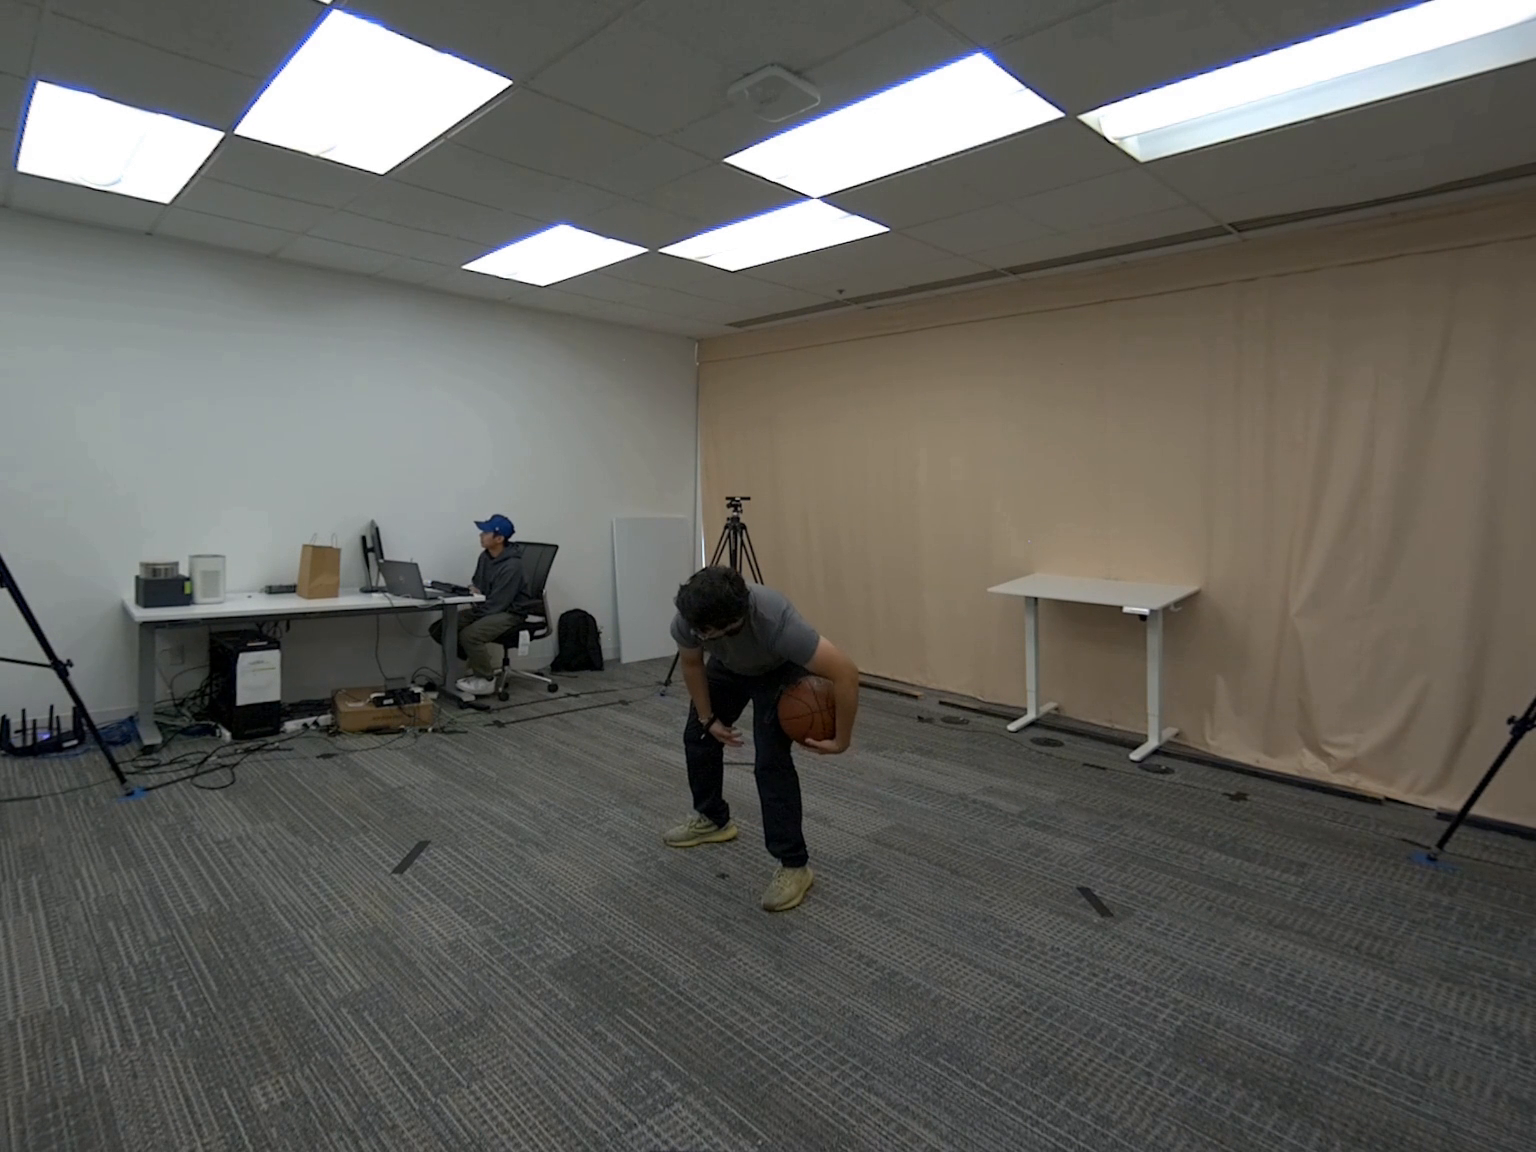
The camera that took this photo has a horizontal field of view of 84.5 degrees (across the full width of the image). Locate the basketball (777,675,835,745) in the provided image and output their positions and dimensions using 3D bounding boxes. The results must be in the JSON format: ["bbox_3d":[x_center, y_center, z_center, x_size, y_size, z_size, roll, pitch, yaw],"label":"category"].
[{"bbox_3d":[0.148,0.474,2.922,0.236,0.235,0.237,1,4,-1],"label":"basketball"}]
